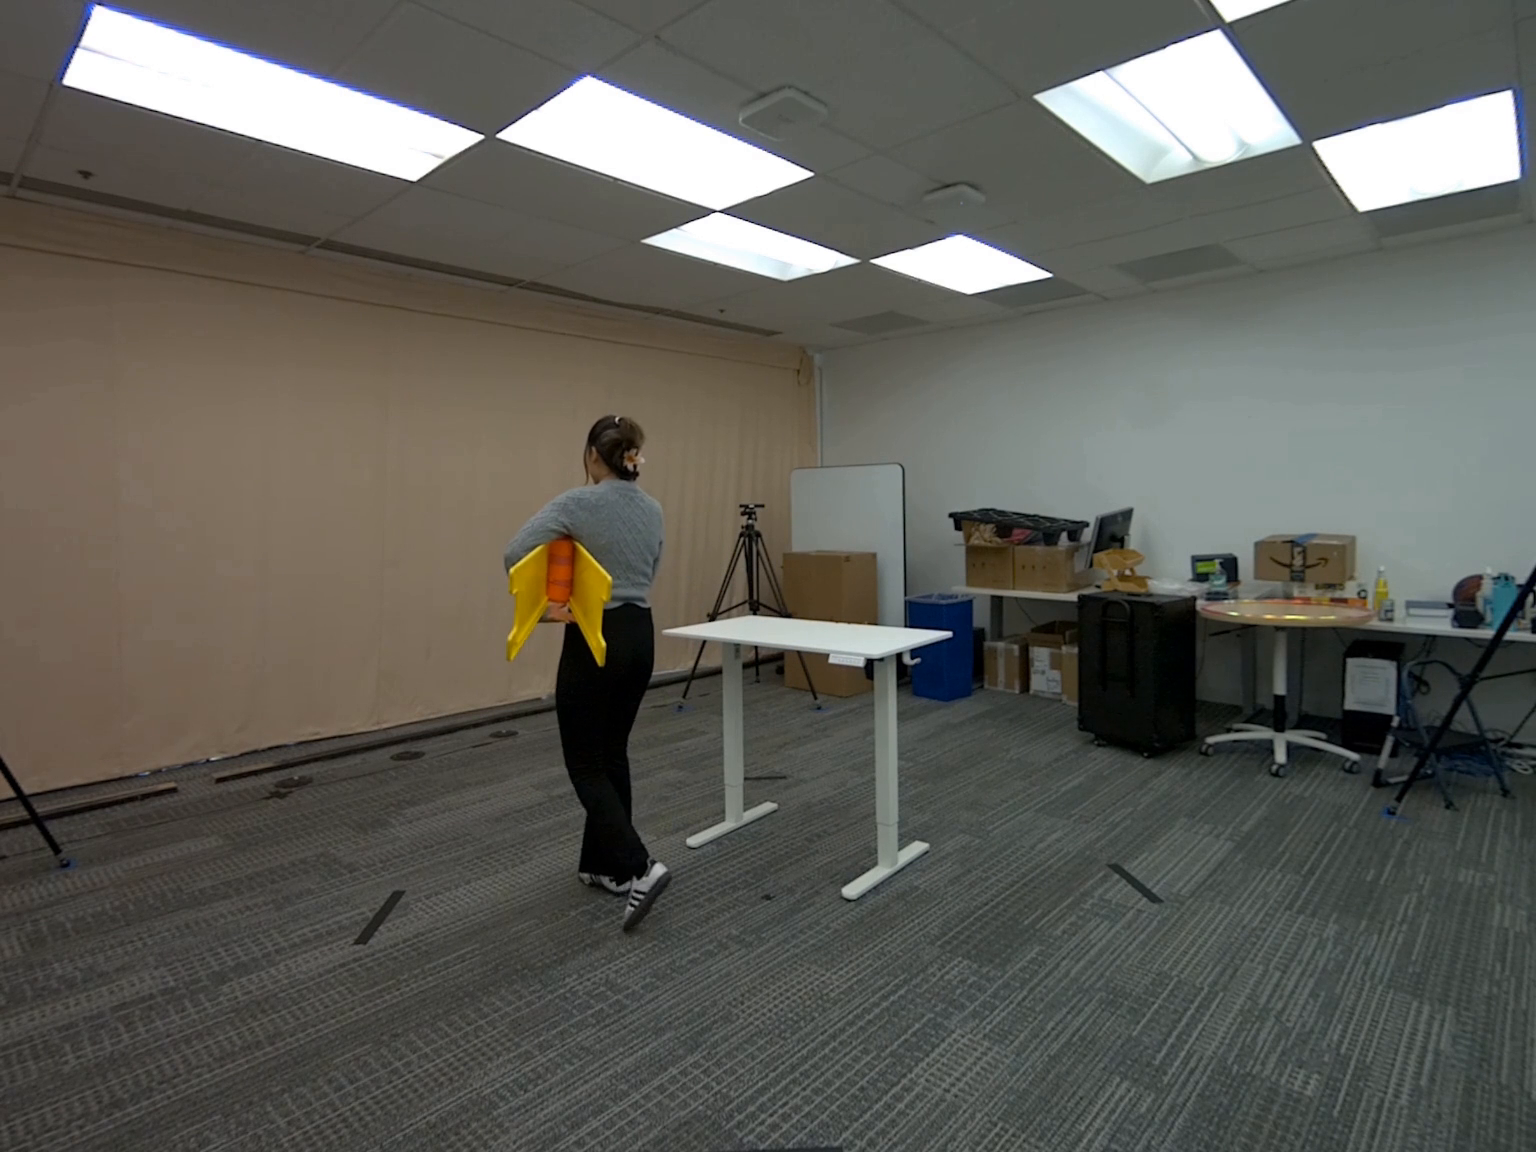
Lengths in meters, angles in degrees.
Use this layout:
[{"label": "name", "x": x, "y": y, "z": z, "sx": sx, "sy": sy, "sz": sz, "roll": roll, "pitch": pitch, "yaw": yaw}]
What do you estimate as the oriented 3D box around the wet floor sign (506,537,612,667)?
[{"label": "wet floor sign", "x": -0.674, "y": 0.029, "z": 2.732, "sx": 0.286, "sy": 0.280, "sz": 0.659, "roll": 3, "pitch": 16, "yaw": -12}]
